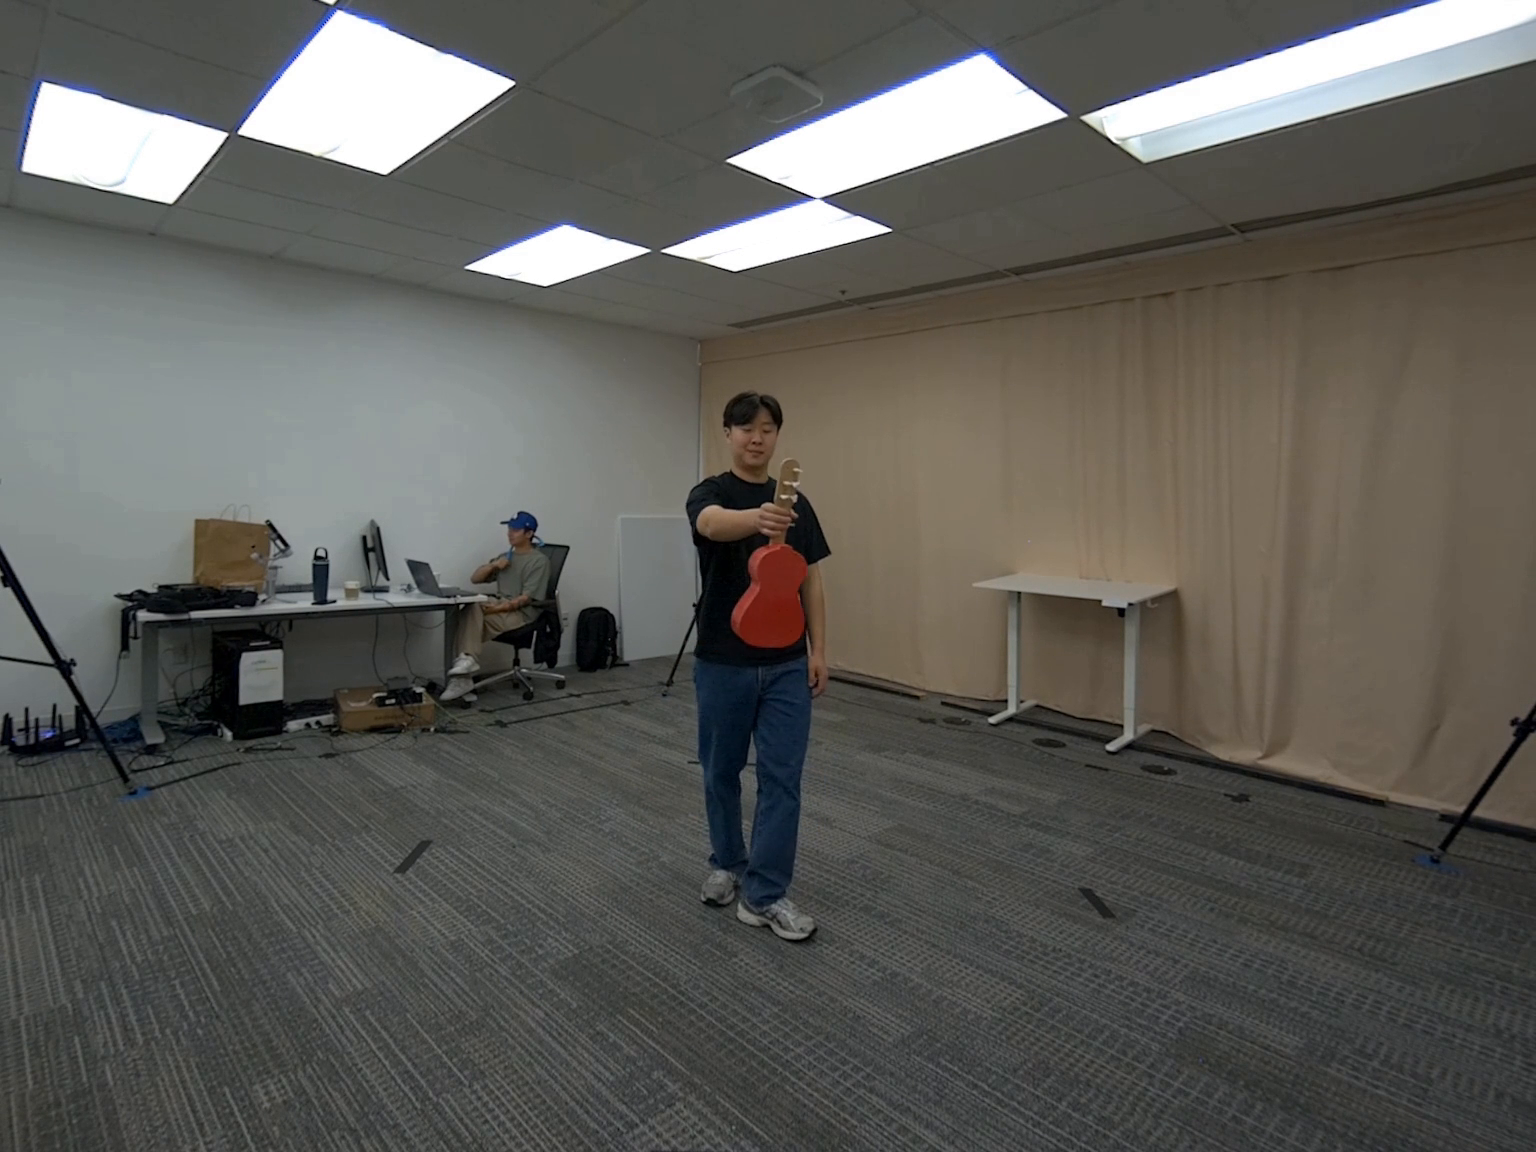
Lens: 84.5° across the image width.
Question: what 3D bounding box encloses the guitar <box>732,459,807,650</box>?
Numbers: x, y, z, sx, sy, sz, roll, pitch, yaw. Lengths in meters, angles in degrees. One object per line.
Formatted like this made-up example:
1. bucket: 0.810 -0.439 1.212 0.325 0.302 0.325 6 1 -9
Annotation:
1. guitar: -0.004 -0.054 2.224 0.190 0.493 0.072 -4 13 -23
